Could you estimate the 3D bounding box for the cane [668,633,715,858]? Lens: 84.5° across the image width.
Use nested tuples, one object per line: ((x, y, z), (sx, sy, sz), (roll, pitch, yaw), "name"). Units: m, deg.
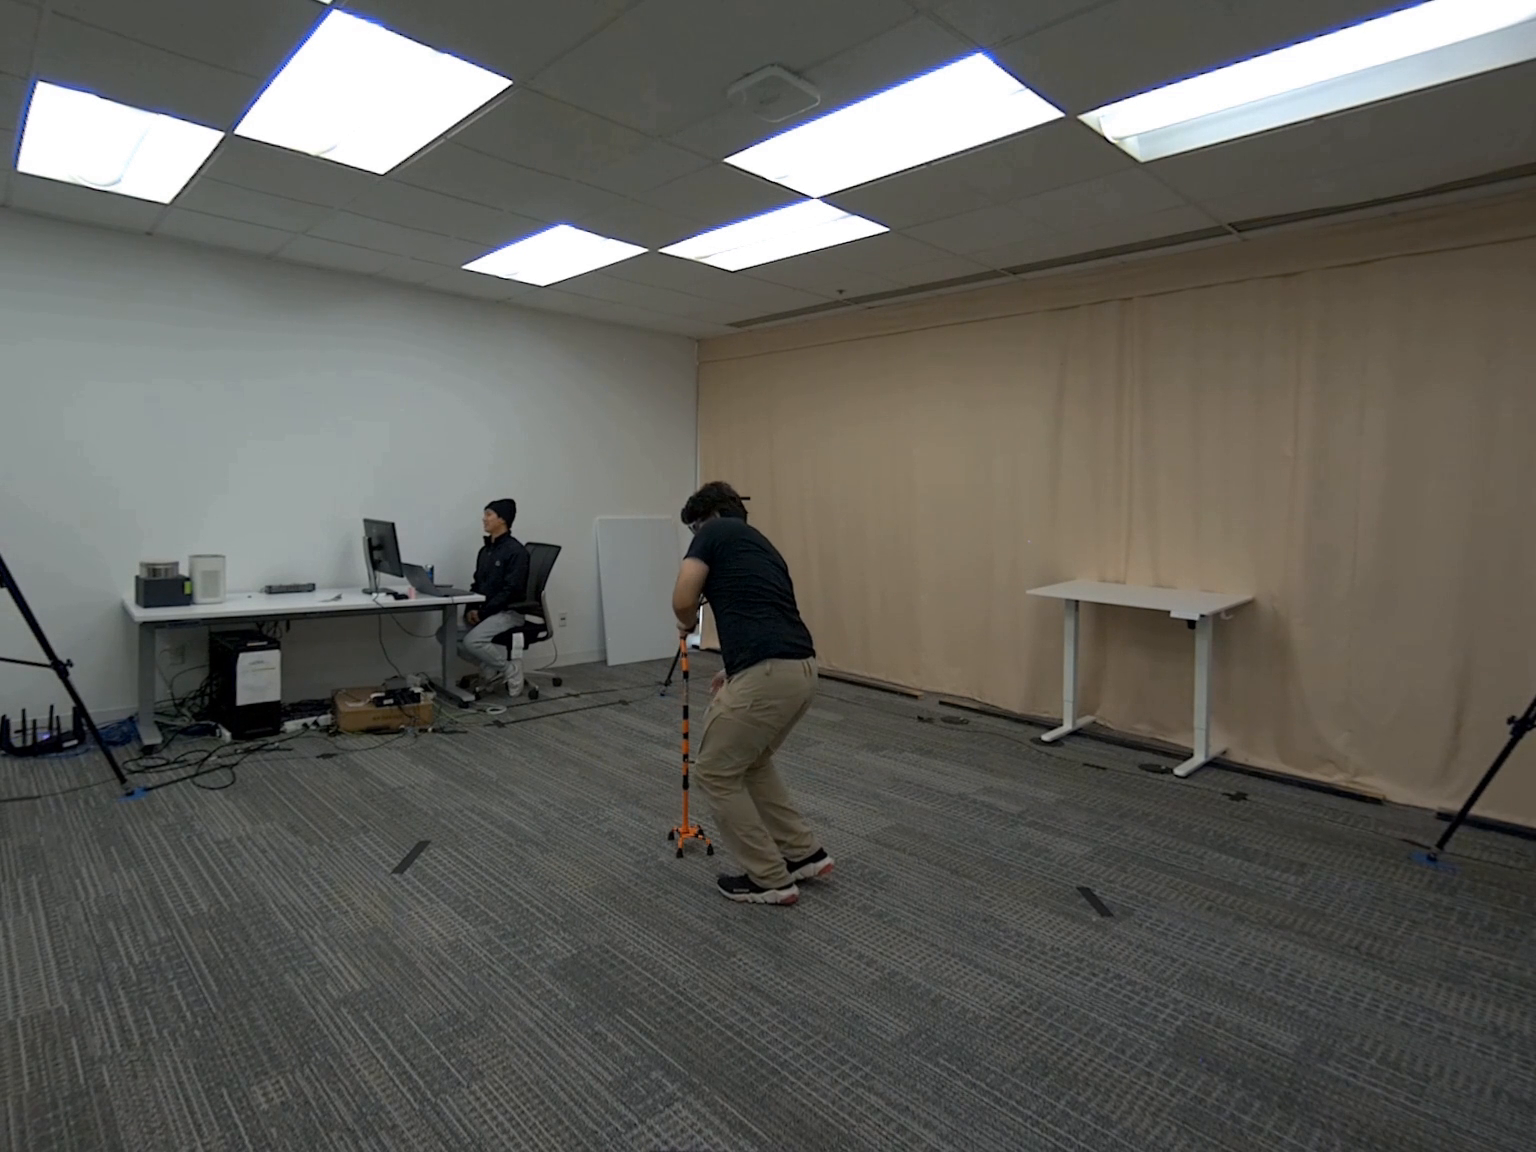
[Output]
((-0.317, 0.633, 3.335), (0.150, 0.906, 0.209), (-1, 3, -16), "cane")
